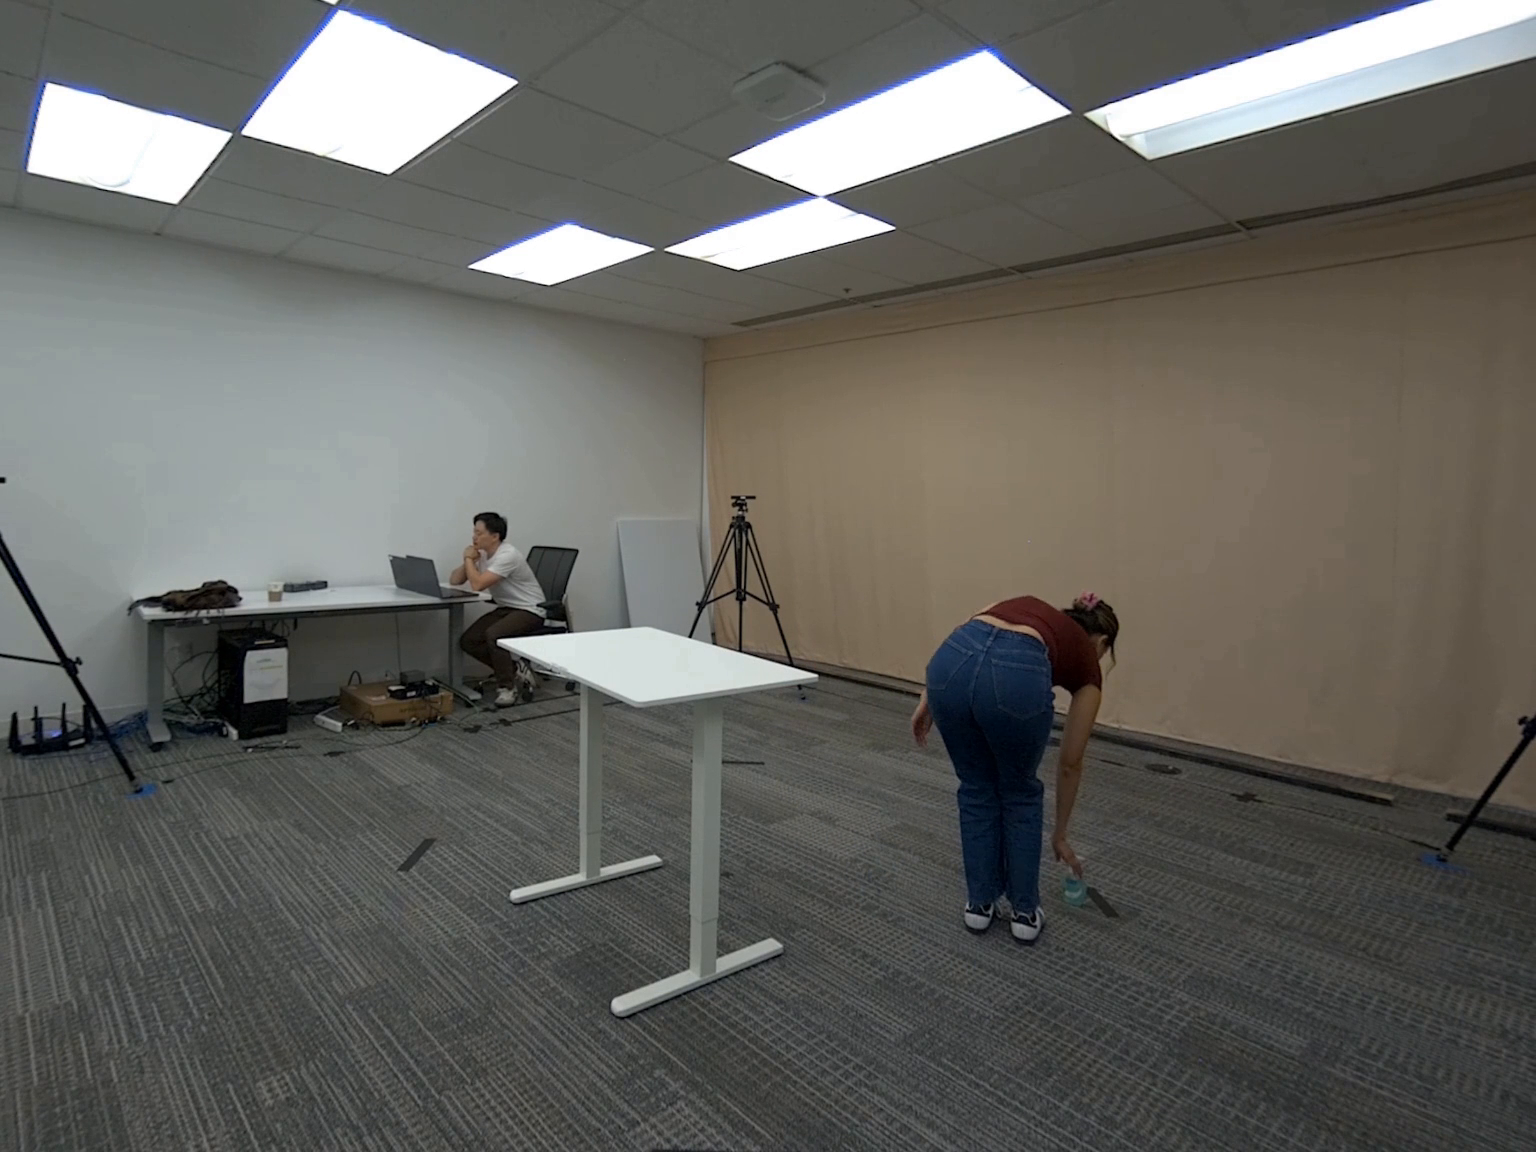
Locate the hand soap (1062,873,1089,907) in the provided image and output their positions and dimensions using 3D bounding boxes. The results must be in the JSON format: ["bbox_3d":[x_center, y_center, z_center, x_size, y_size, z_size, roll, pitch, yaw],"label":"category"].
[{"bbox_3d":[1.070,1.068,2.952,0.086,0.168,0.042,4,4,25],"label":"hand soap"}]
